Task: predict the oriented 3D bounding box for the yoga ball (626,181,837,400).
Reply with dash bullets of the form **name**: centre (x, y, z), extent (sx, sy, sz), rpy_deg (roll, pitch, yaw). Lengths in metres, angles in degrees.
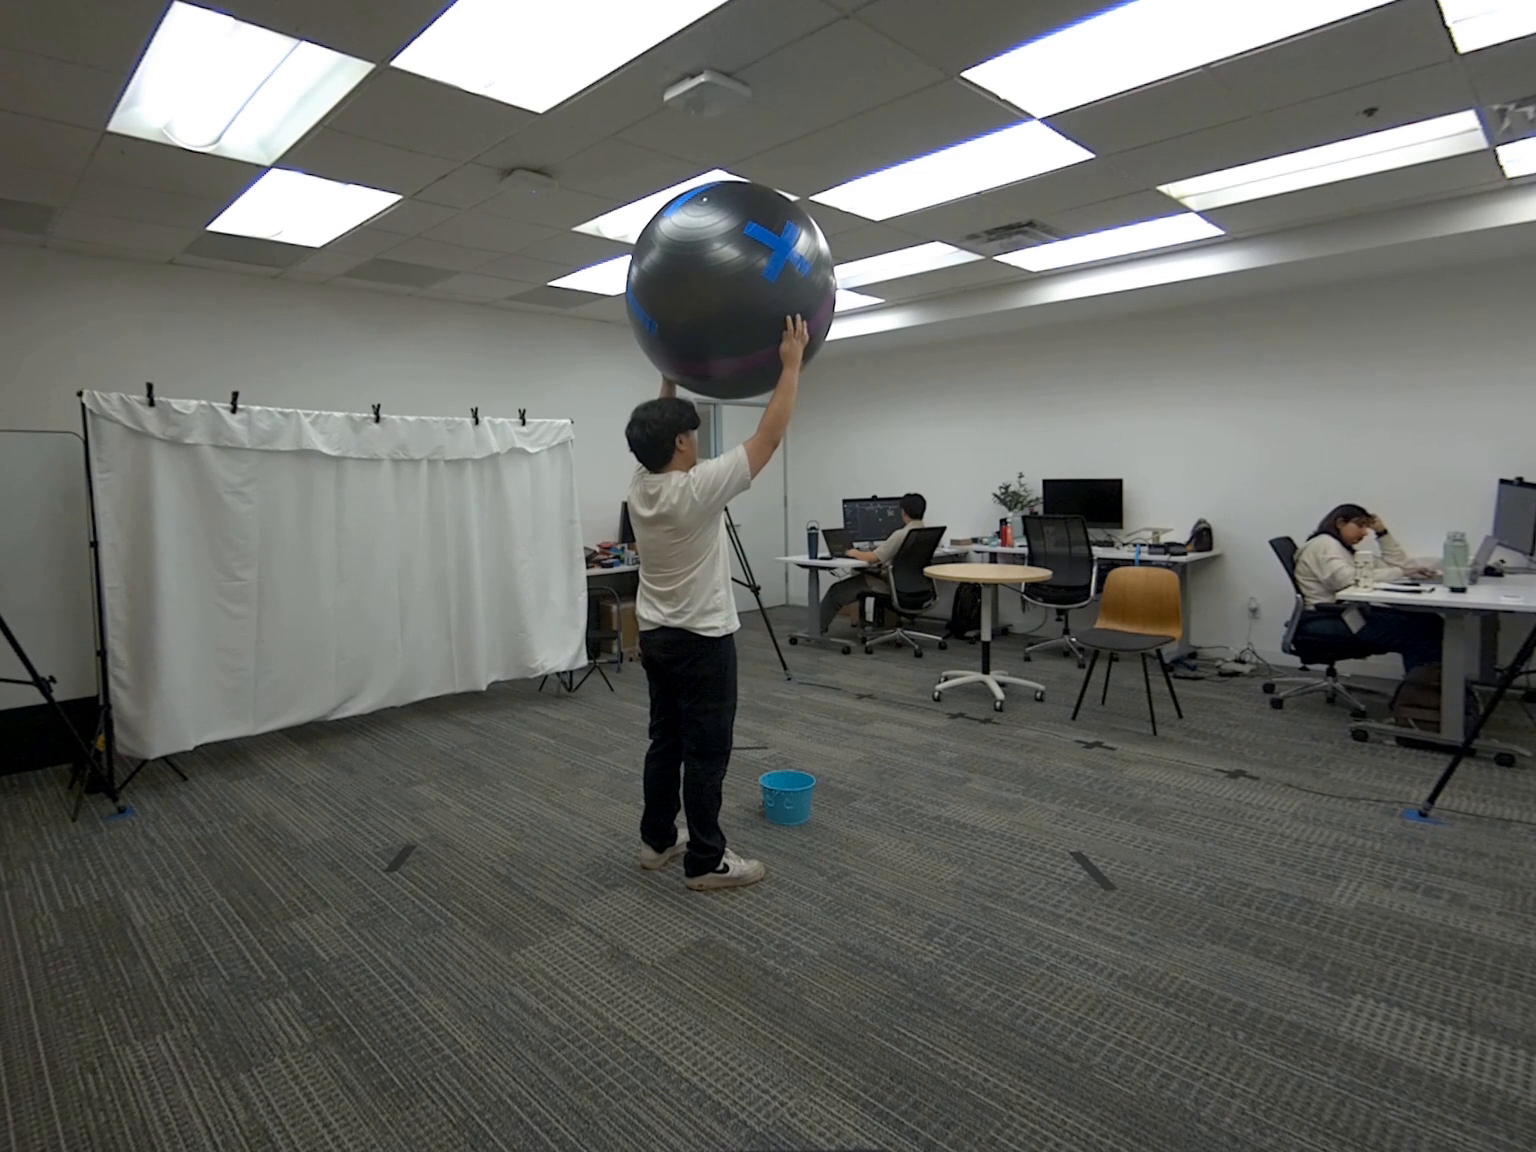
- **yoga ball**: centre (-0.131, -1.016, 3.080), extent (0.757, 0.755, 0.762), rpy_deg (-1, 5, -2)
